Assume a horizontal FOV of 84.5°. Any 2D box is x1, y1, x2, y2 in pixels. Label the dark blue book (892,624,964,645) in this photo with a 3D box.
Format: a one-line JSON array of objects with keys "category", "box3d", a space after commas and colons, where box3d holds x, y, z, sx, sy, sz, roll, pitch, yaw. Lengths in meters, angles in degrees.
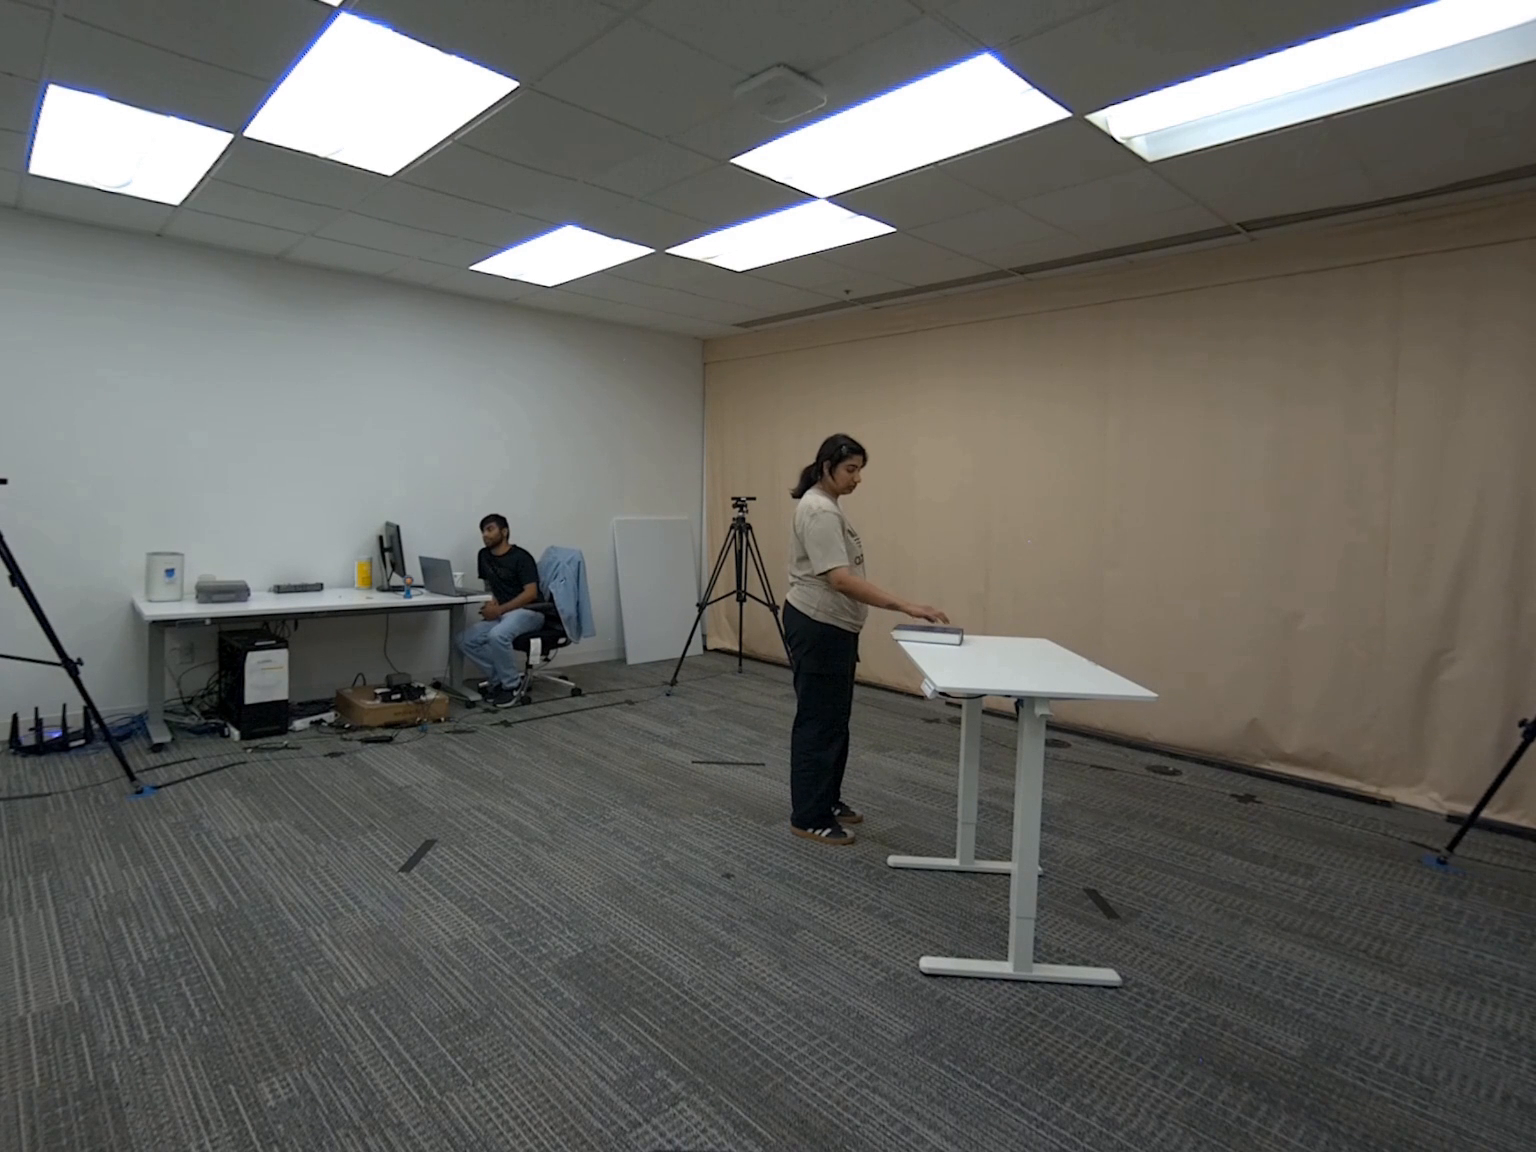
[{"category": "dark blue book", "box3d": [0.607, 0.218, 3.162, 0.248, 0.045, 0.162, 3, 5, 15]}]
